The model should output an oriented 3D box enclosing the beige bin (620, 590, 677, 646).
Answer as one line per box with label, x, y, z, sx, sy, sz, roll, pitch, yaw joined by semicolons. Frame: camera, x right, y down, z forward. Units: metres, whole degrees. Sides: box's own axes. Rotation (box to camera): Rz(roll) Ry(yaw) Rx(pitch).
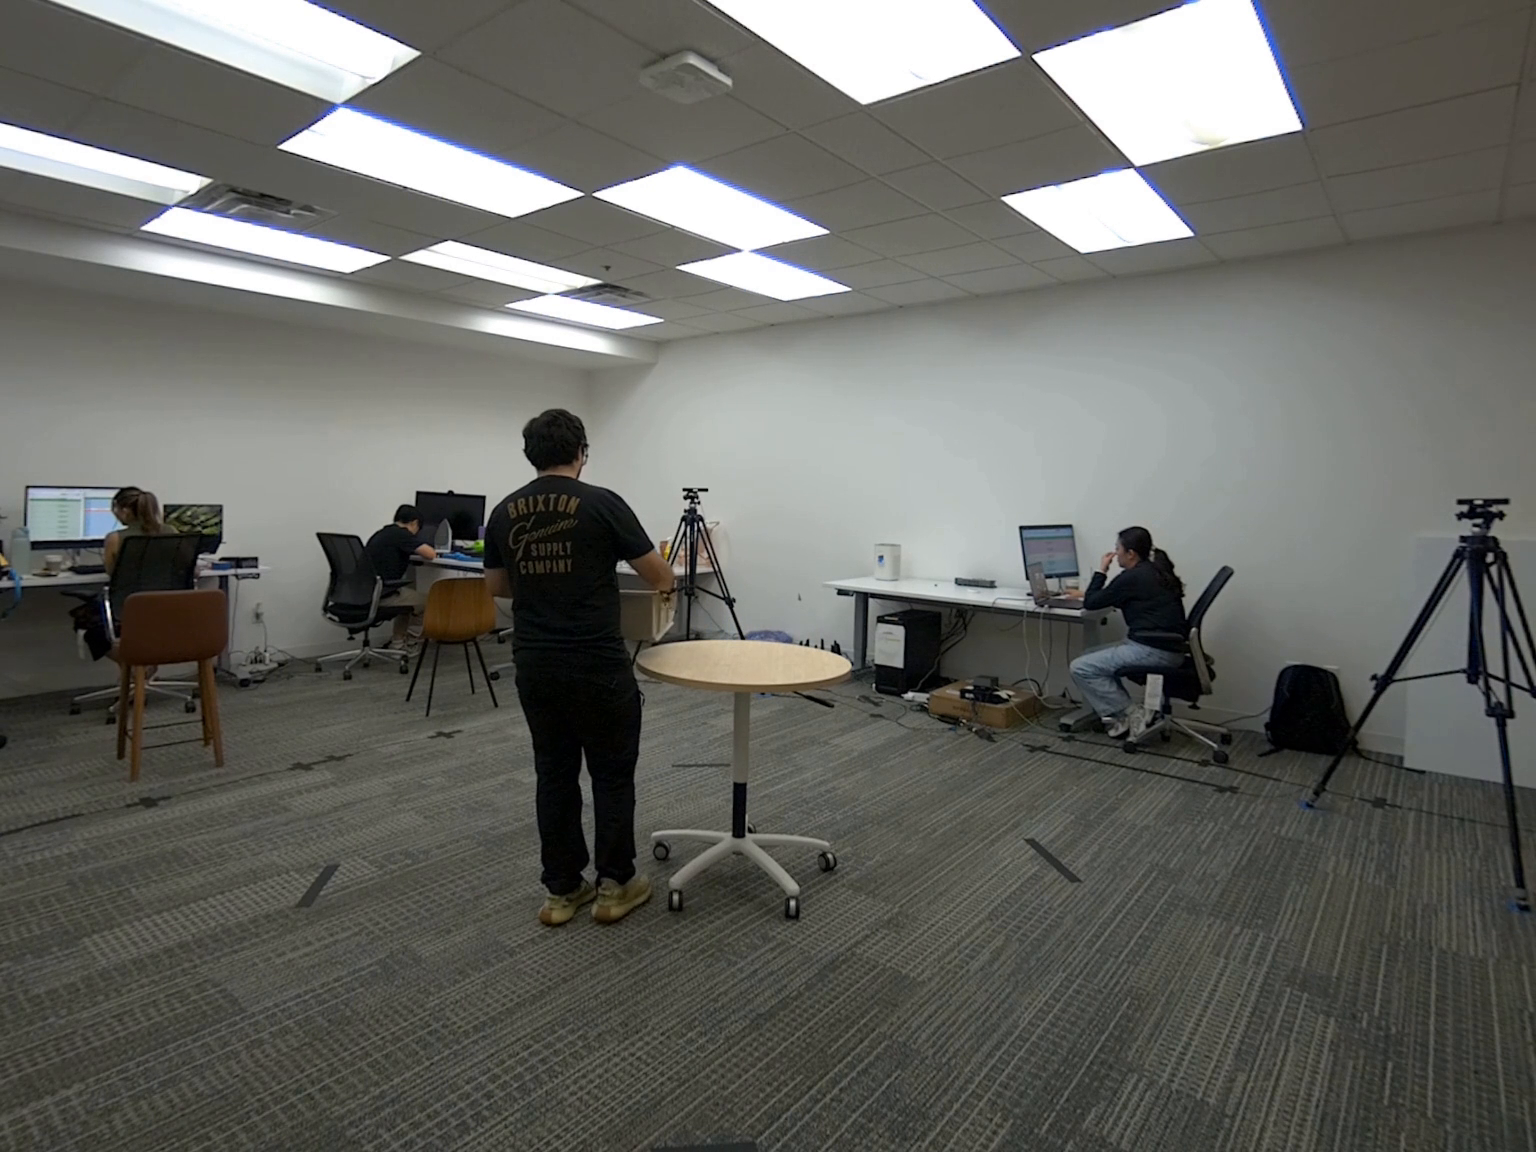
beige bin;-0.585;0.112;3.165;0.426;0.187;0.377;1;8;7
